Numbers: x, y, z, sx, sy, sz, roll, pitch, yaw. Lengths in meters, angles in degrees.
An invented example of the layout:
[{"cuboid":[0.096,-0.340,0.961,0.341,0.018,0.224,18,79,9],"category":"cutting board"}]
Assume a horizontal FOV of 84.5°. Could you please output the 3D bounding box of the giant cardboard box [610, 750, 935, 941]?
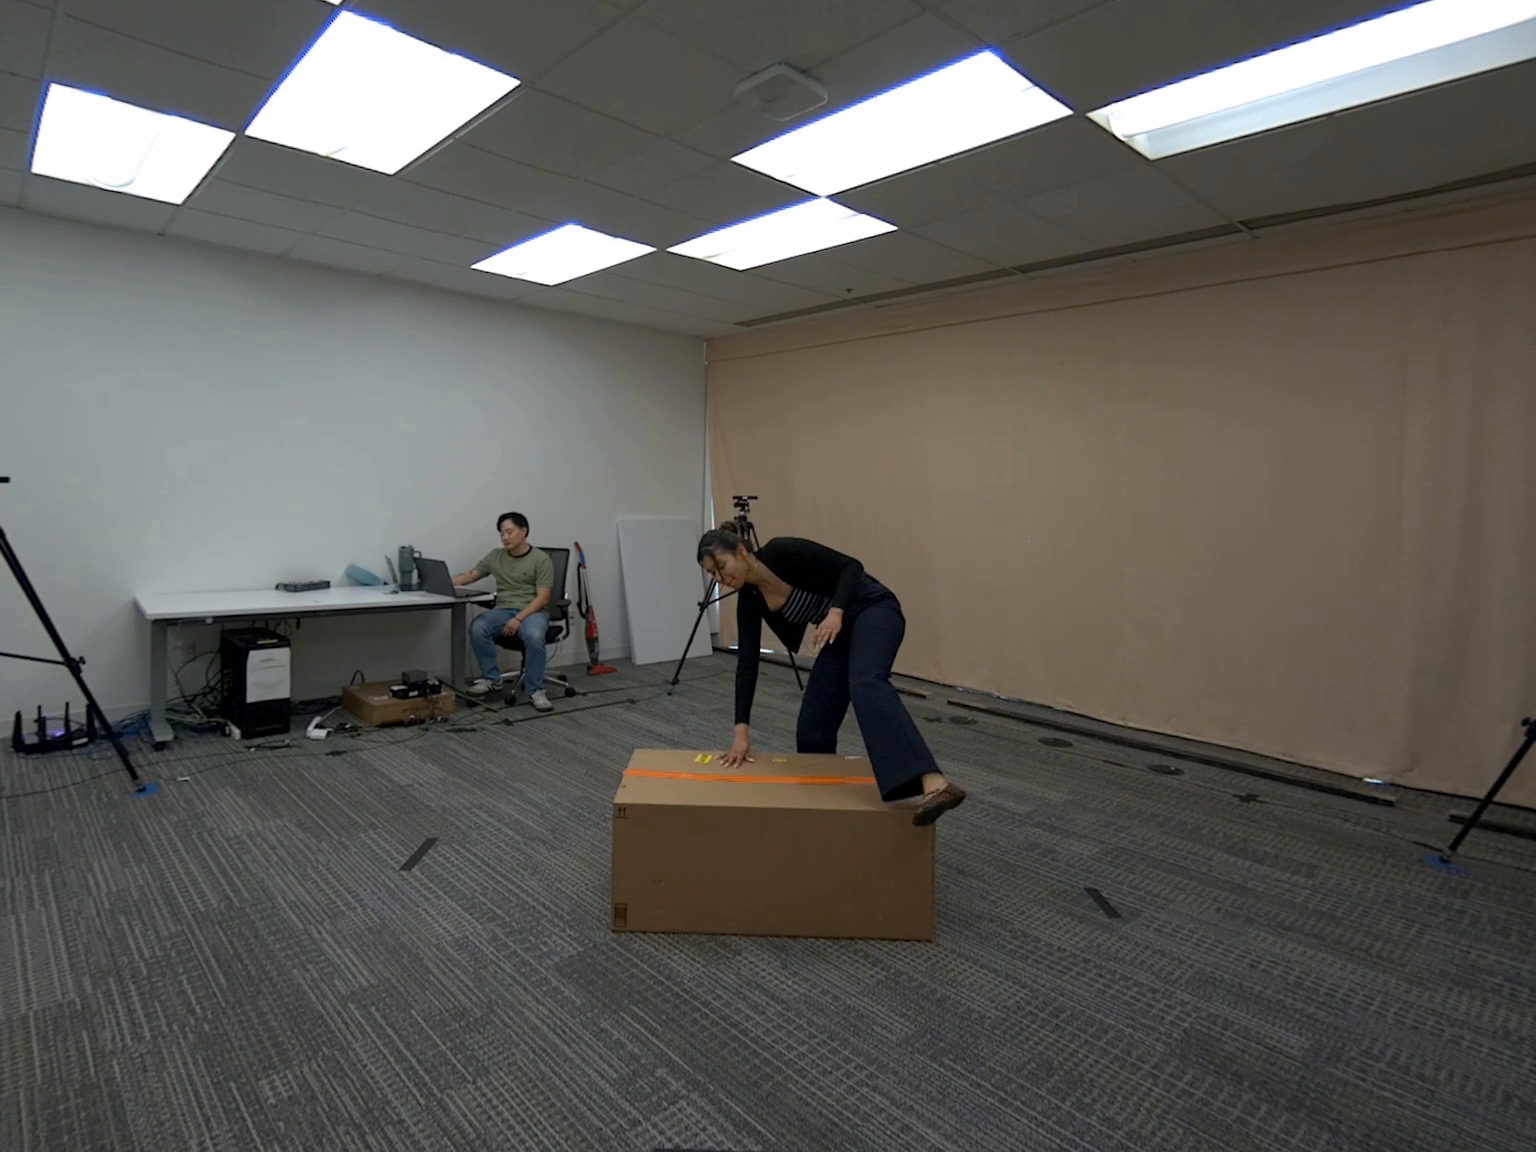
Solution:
[{"cuboid":[0.000,0.909,2.936,1.026,0.425,0.578,1,4,0],"category":"giant cardboard box"}]
